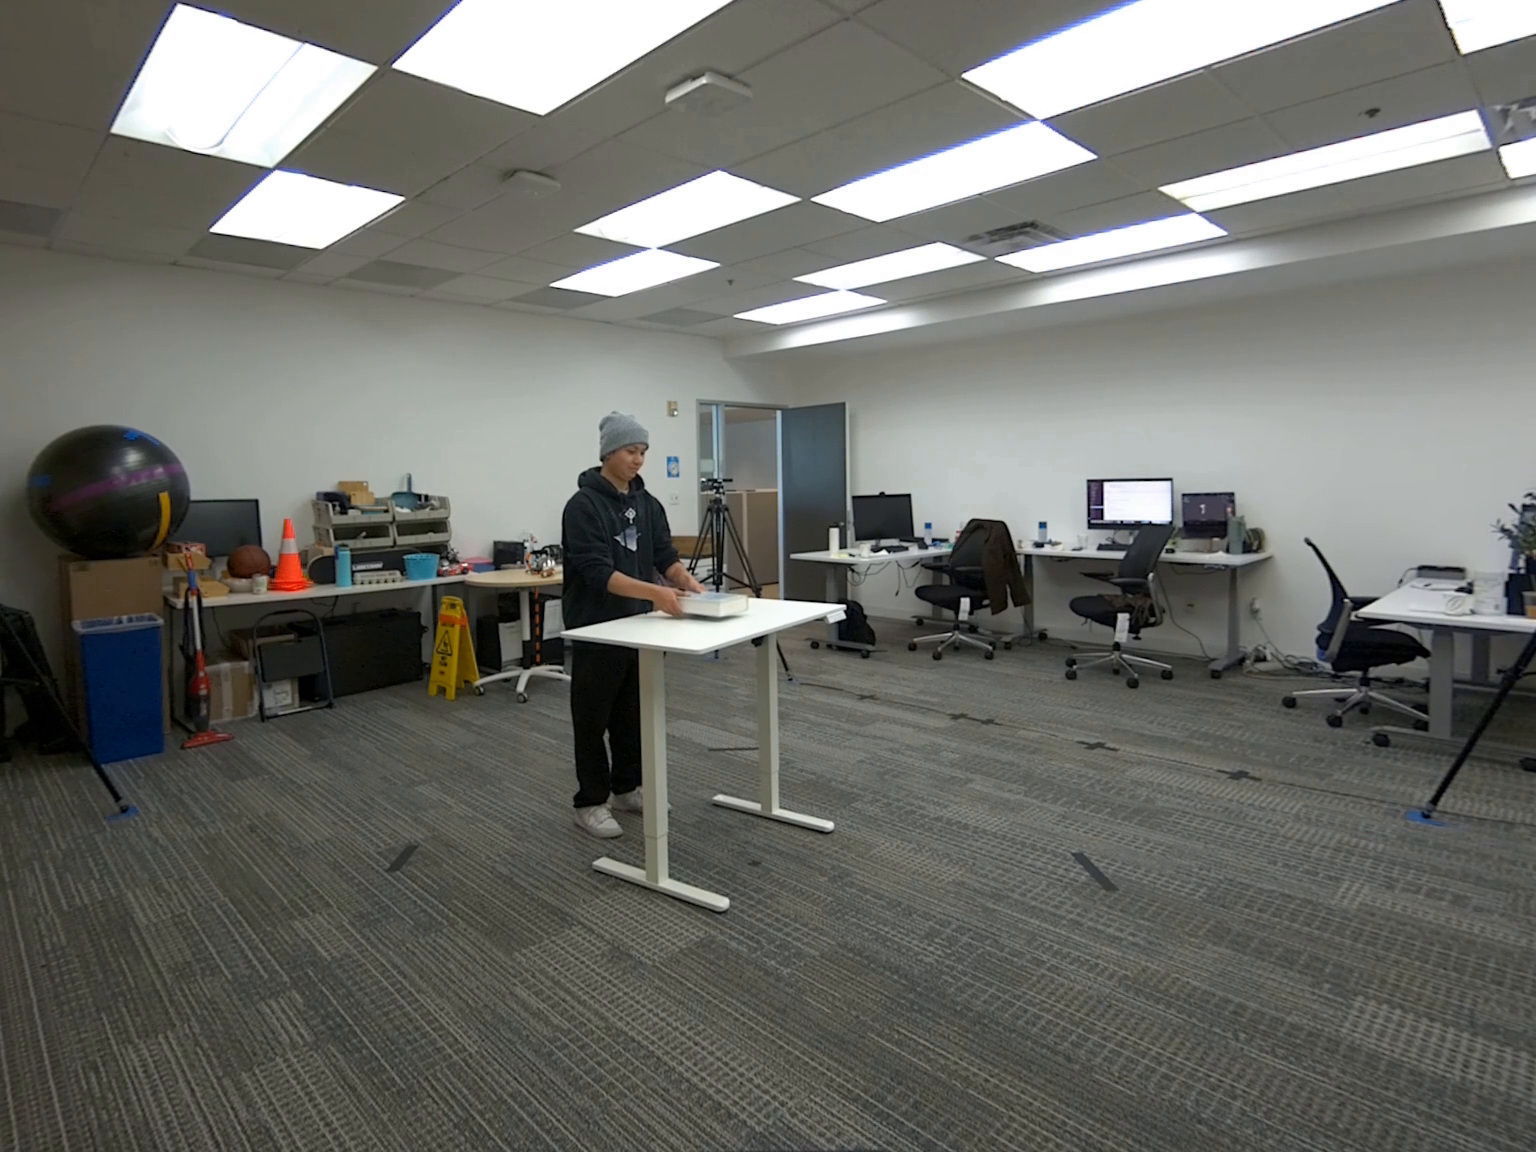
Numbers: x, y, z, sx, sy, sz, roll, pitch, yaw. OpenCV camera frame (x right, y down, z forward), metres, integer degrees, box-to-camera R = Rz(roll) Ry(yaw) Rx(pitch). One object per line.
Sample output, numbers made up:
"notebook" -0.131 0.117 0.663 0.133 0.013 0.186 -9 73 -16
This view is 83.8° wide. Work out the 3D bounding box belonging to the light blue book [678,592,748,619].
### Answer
"light blue book" -0.226 0.107 3.202 0.268 0.059 0.187 3 6 31
